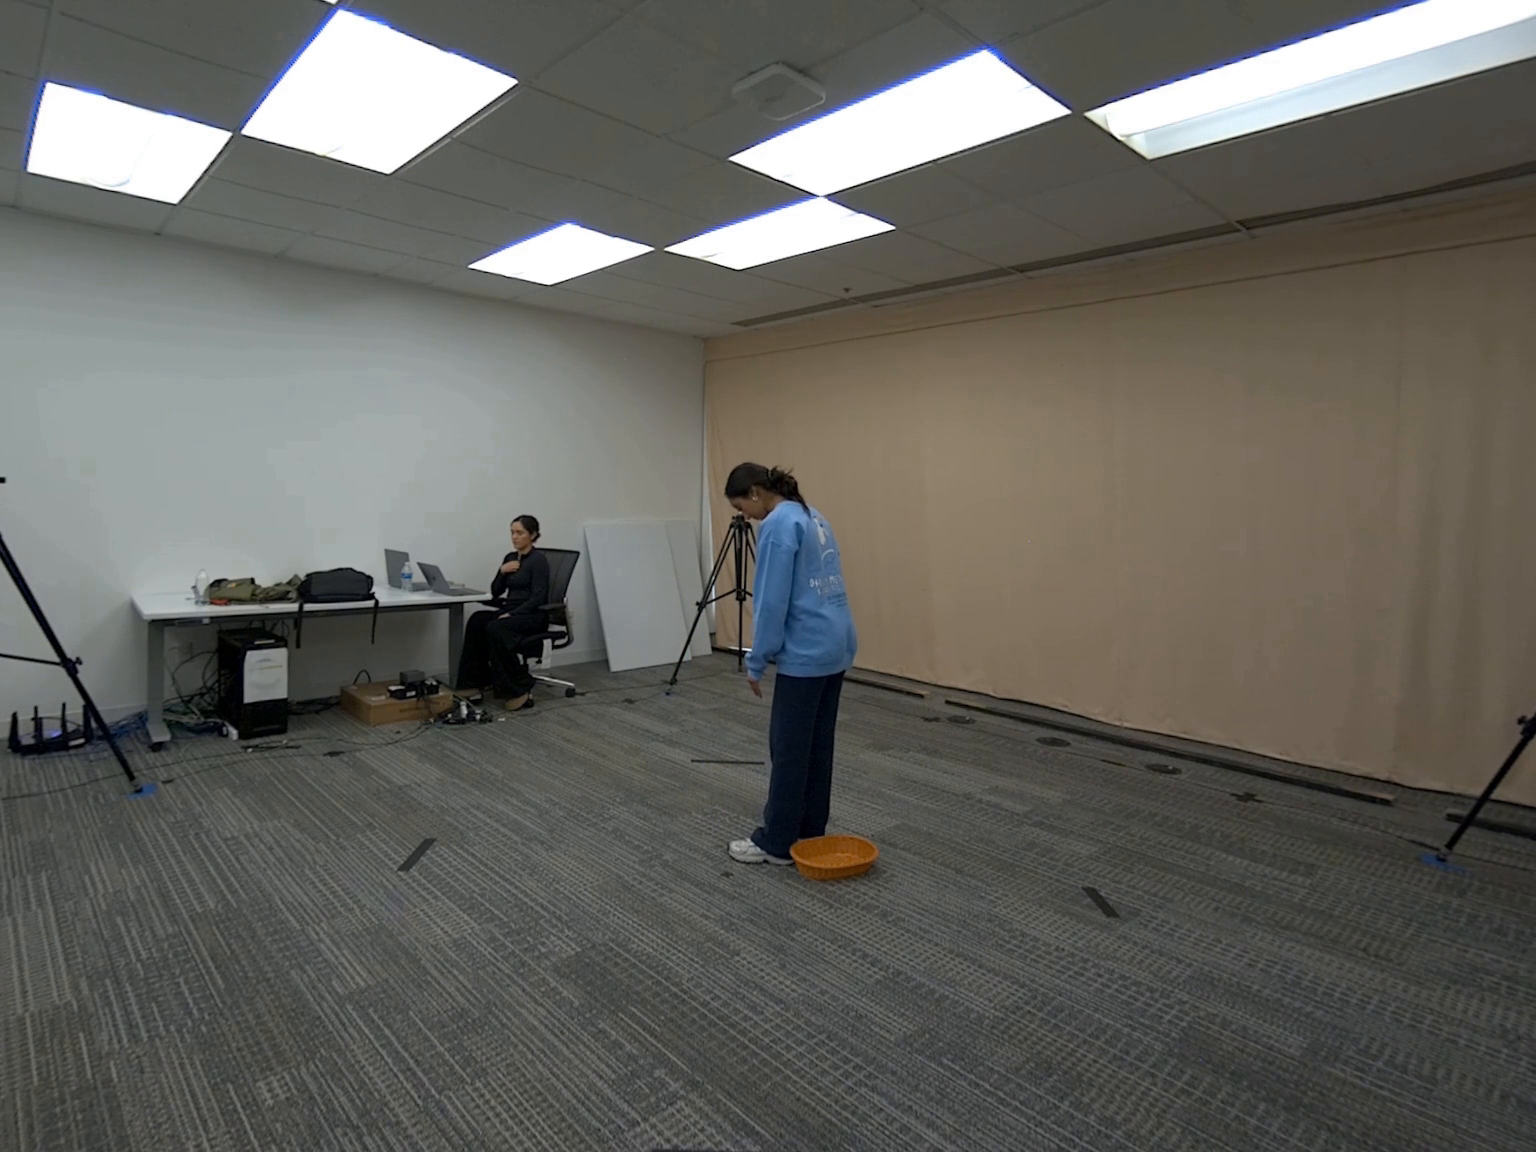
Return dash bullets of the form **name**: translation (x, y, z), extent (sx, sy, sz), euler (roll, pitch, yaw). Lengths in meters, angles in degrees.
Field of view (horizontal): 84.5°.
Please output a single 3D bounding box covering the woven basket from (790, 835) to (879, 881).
- **woven basket**: translation (0.241, 1.065, 3.179), extent (0.345, 0.073, 0.257), euler (0, 6, -19)
